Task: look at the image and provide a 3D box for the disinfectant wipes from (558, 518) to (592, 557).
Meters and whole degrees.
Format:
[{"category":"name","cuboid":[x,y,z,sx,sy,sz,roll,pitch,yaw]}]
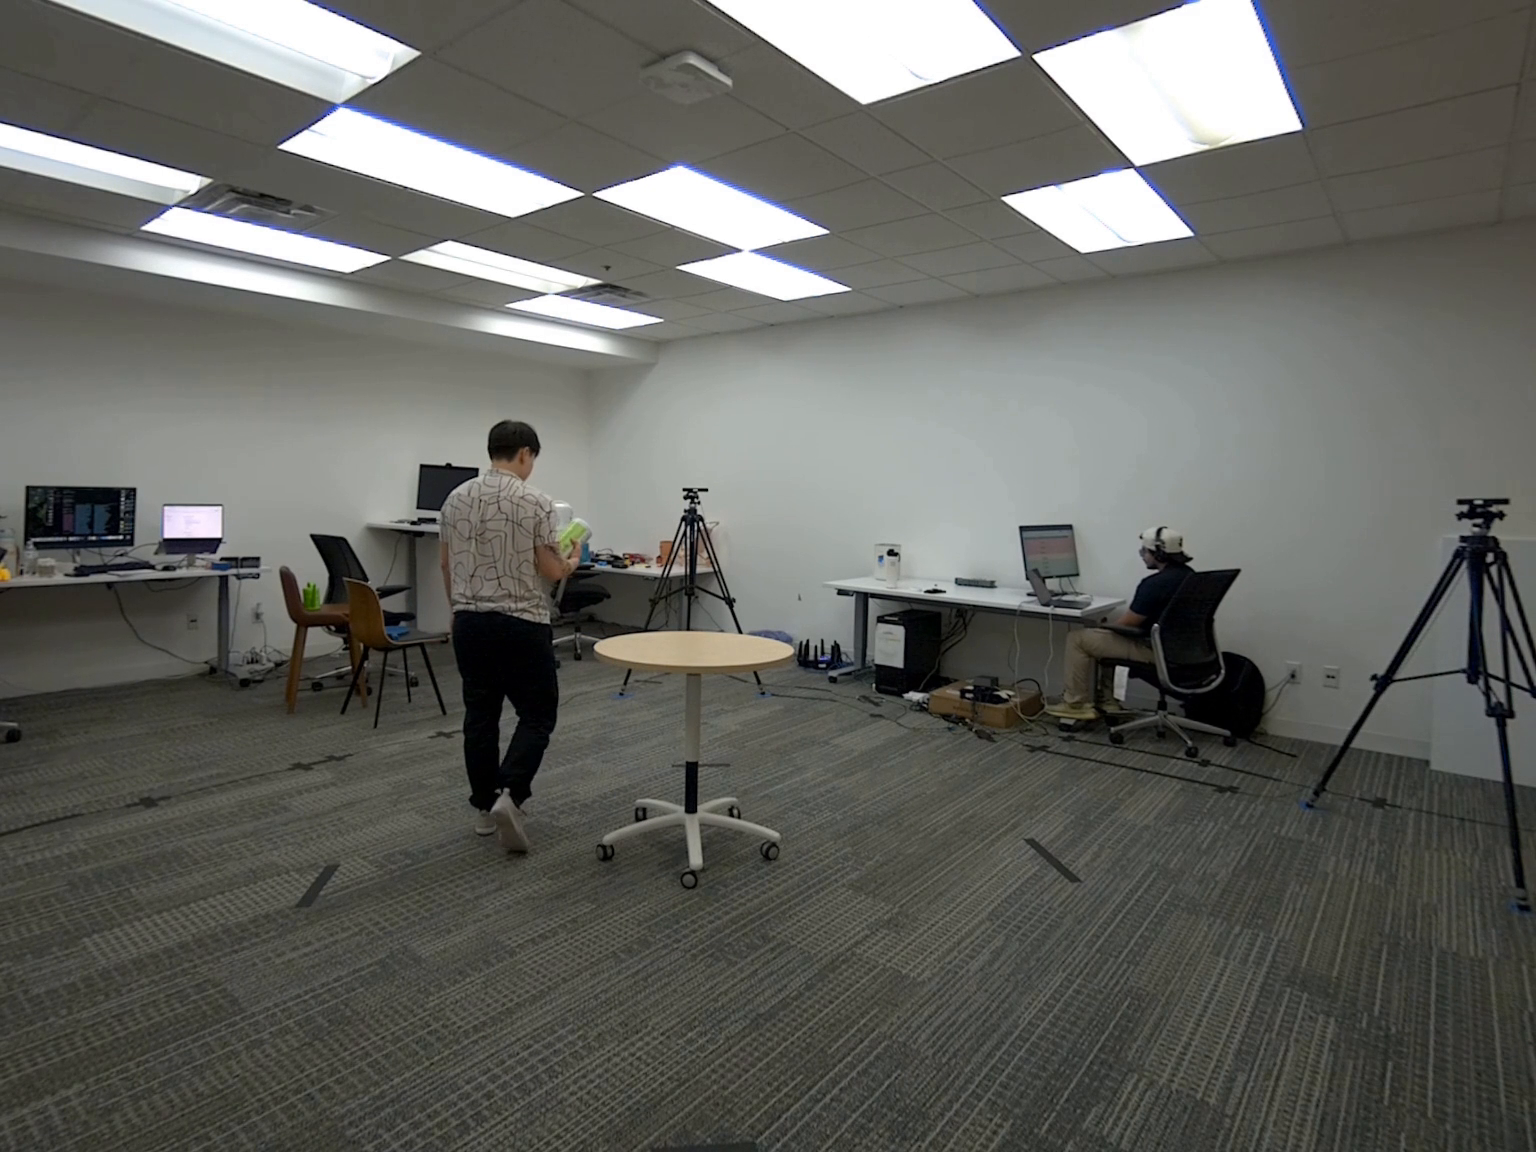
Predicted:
[{"category":"disinfectant wipes","cuboid":[-0.871,-0.149,3.679,0.122,0.113,0.218,4,46,44]}]
